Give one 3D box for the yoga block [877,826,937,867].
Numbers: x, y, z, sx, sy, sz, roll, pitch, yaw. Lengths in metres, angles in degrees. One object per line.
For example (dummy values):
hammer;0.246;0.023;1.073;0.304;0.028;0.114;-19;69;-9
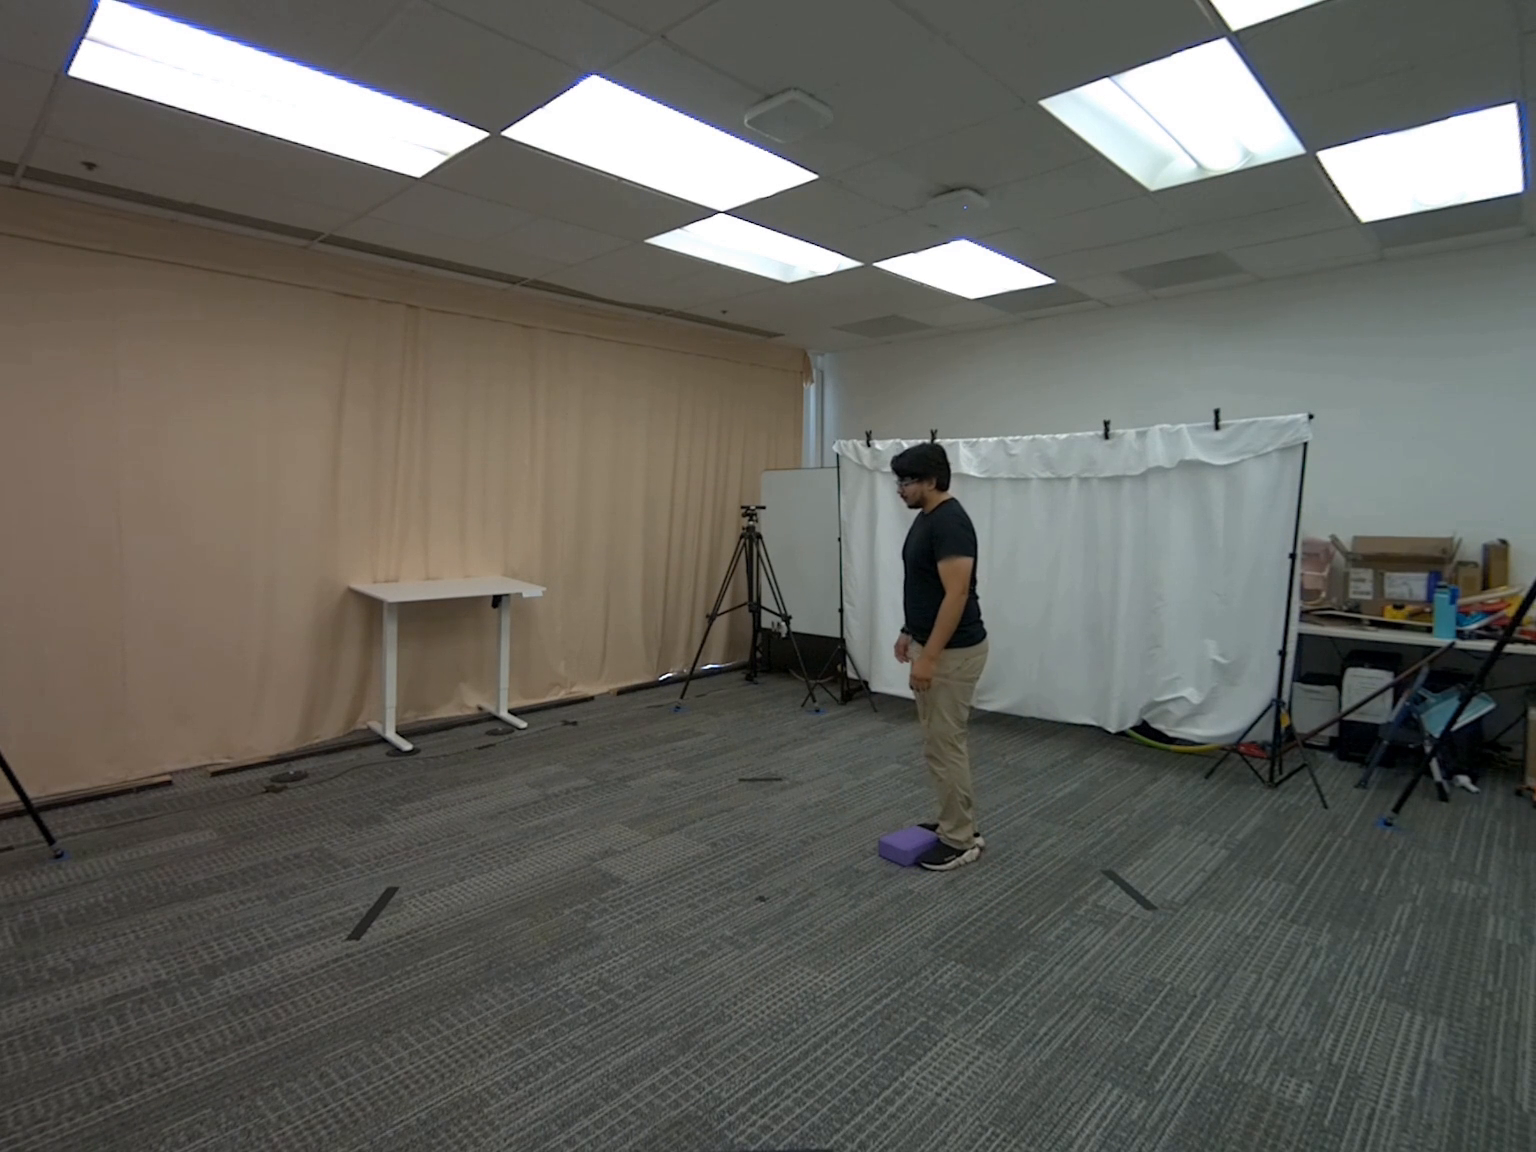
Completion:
yoga block;0.570;1.076;3.358;0.222;0.076;0.154;-6;8;-41
